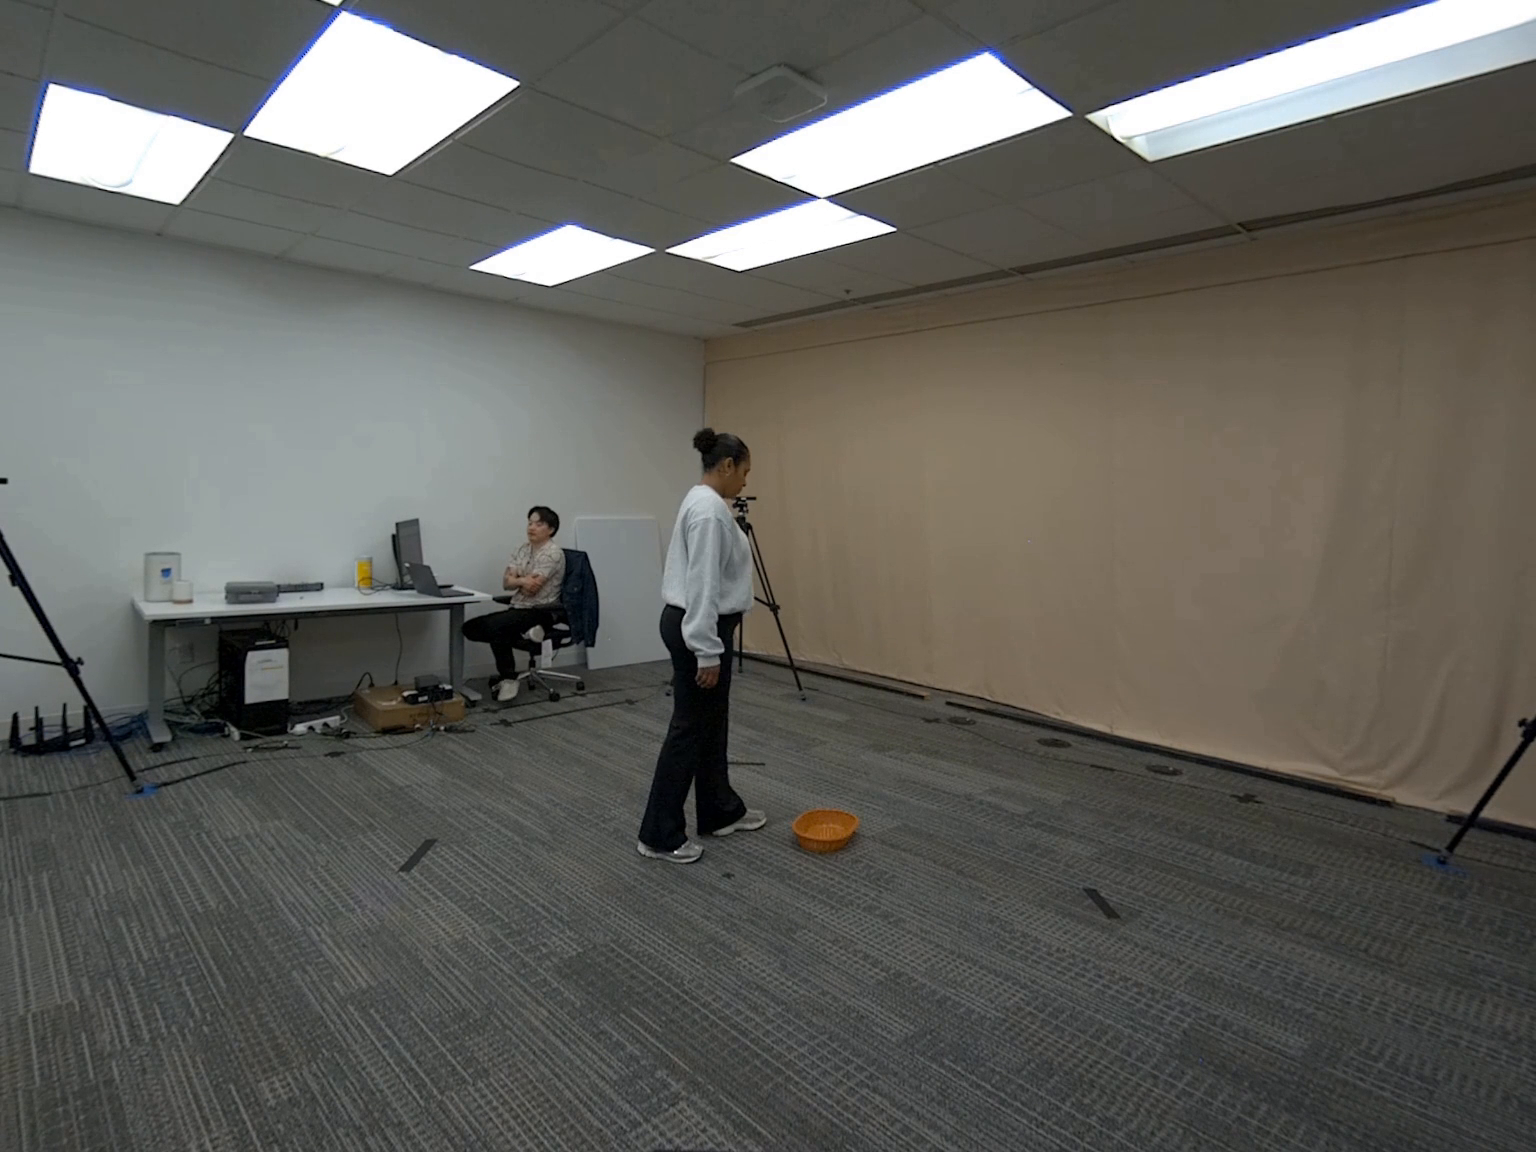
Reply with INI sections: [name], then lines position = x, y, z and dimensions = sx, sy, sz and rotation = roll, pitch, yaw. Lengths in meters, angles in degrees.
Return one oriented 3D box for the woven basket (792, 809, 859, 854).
[woven basket]
position = 0.229, 1.045, 3.461
dimensions = 0.257, 0.073, 0.345
rotation = 3, 5, 23
